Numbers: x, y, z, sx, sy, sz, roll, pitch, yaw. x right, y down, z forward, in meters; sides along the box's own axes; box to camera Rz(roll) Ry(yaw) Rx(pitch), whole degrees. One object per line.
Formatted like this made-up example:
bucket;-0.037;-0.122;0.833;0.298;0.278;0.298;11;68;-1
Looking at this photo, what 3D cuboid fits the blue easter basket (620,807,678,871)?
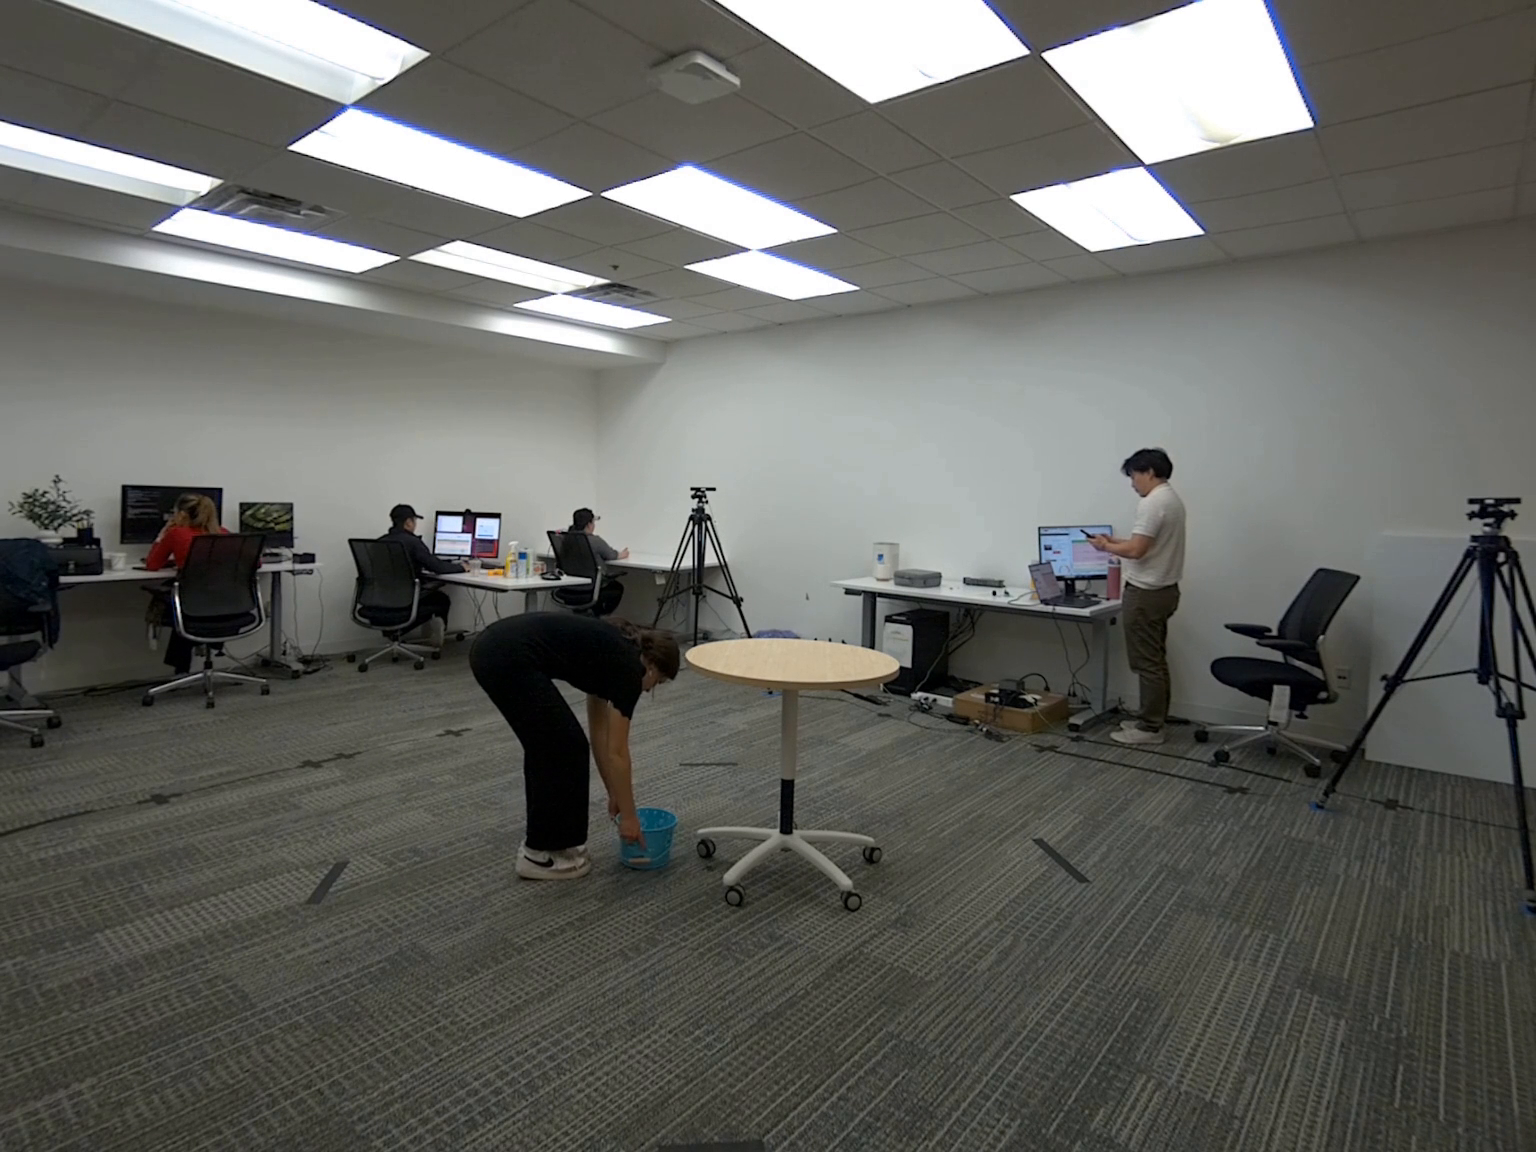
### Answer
blue easter basket;-0.485;0.975;3.173;0.243;0.155;0.244;3;4;-2
